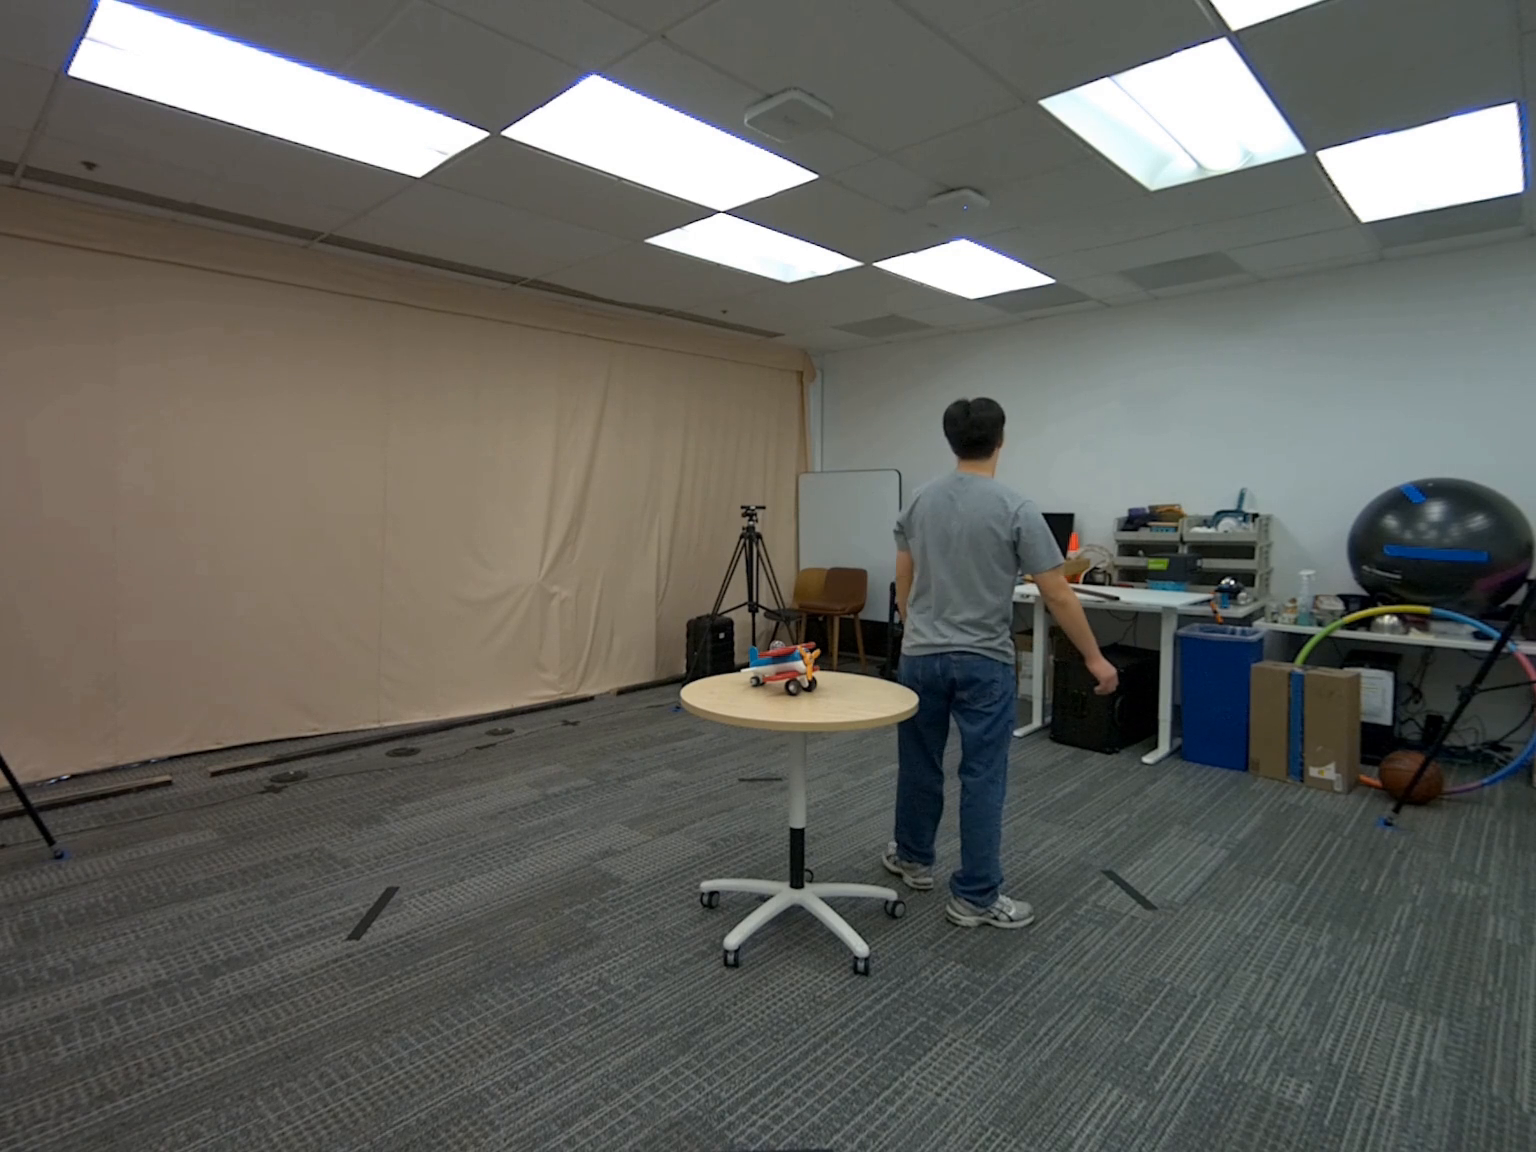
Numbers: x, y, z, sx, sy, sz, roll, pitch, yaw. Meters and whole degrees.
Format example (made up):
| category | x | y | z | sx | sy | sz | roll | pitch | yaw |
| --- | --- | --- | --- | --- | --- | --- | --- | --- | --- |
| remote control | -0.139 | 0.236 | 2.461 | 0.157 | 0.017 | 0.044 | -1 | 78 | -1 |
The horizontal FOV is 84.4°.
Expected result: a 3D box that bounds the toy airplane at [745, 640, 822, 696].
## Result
| category | x | y | z | sx | sy | sz | roll | pitch | yaw |
| --- | --- | --- | --- | --- | --- | --- | --- | --- | --- |
| toy airplane | 0.037 | 0.302 | 2.771 | 0.263 | 0.156 | 0.248 | 2 | 4 | 11 |
